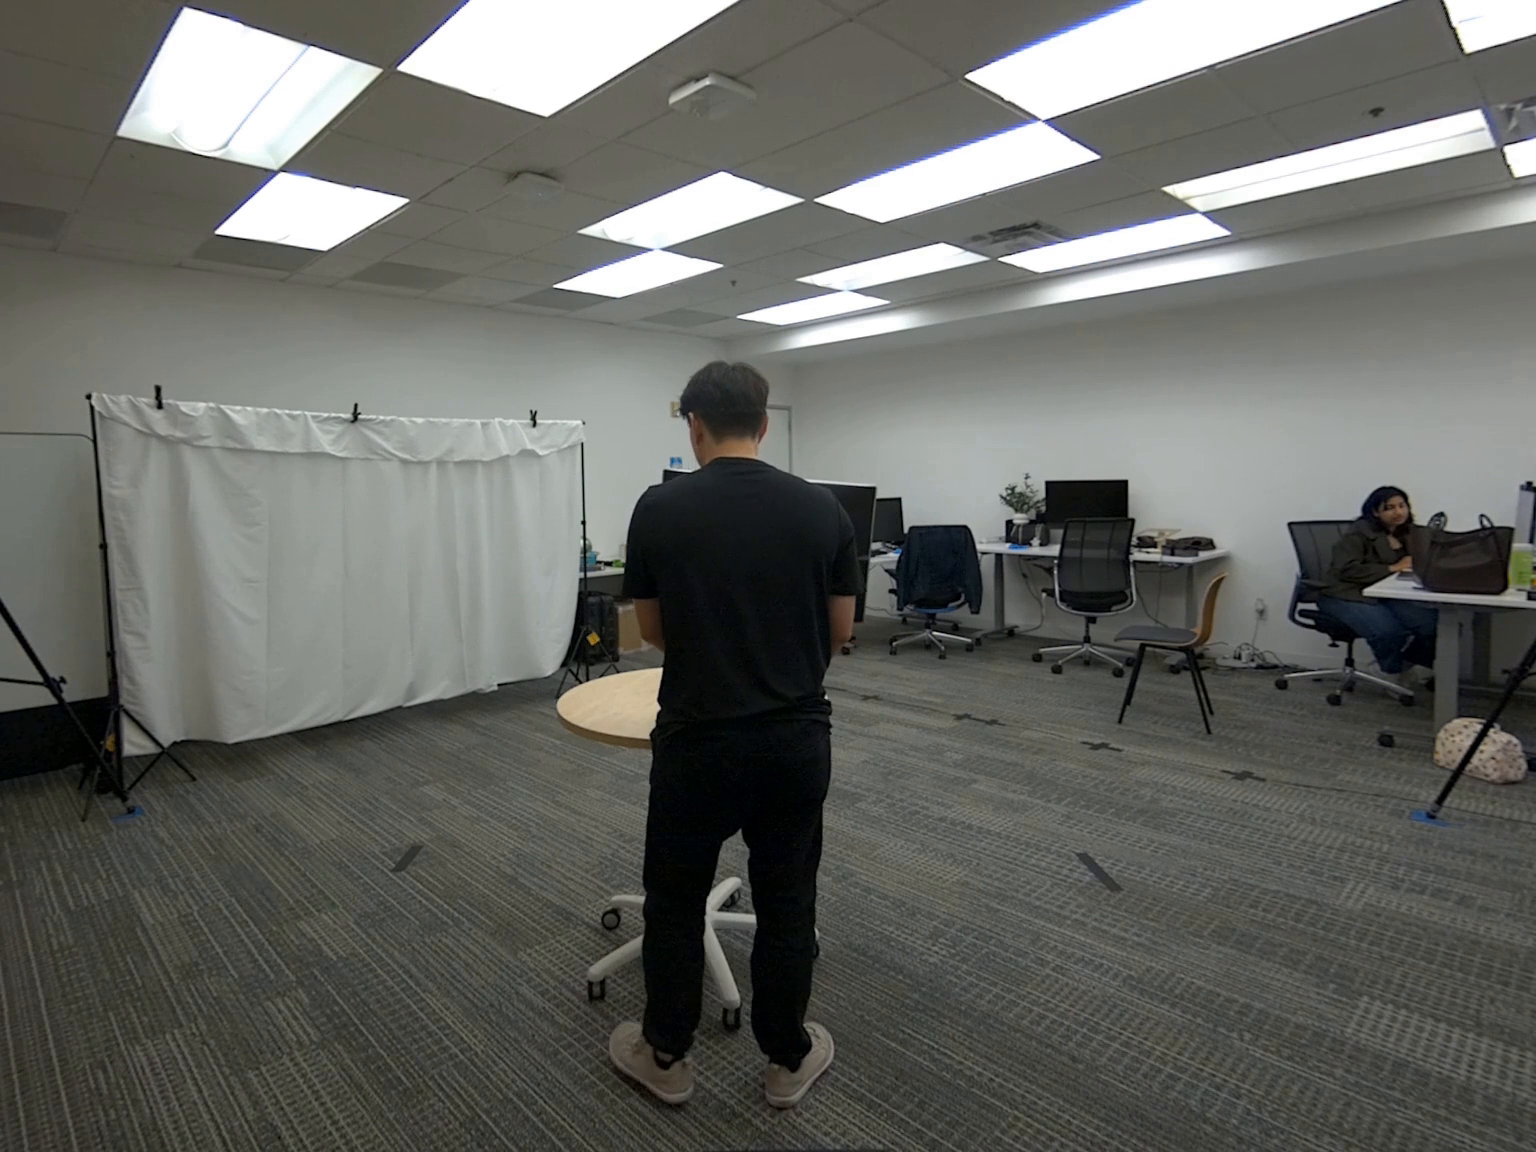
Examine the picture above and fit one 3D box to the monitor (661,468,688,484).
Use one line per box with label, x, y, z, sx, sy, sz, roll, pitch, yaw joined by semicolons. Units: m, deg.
monitor;-0.015;0.014;2.200;0.543;0.523;0.185;5;-2;7
